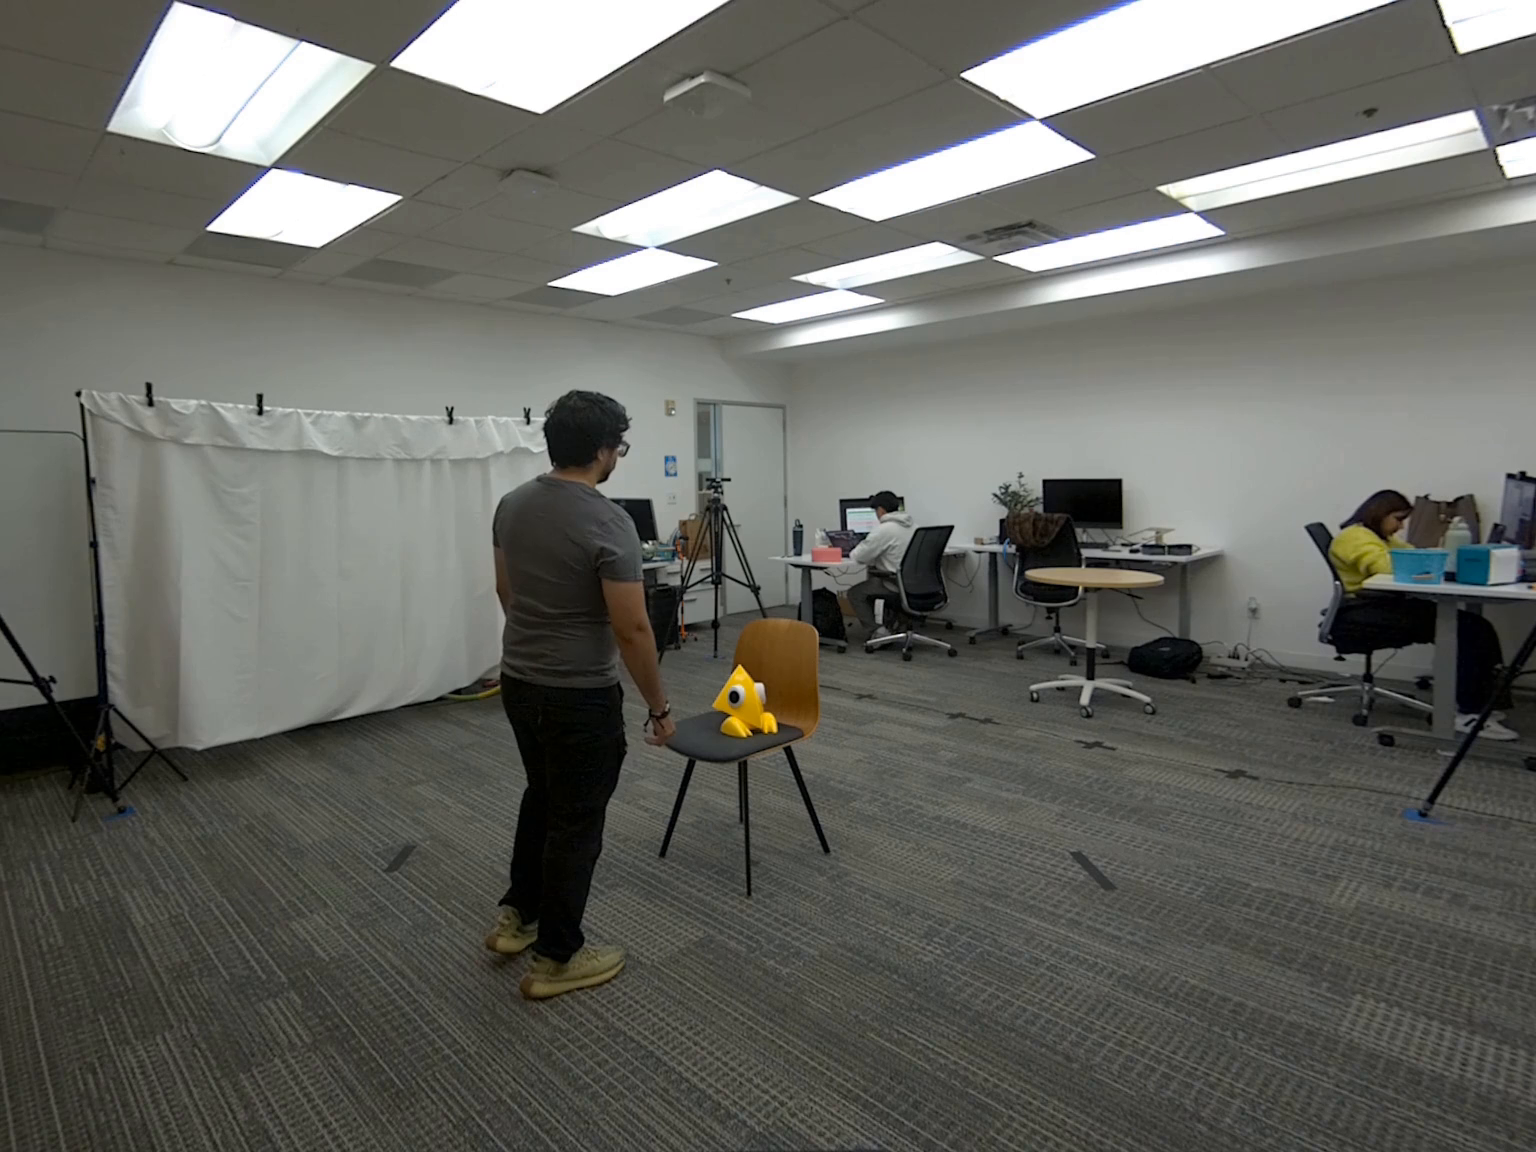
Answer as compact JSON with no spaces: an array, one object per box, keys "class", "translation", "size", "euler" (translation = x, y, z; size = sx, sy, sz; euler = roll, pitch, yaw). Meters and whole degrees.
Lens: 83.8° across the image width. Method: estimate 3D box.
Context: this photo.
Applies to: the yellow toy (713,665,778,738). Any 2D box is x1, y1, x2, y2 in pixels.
[{"class":"yellow toy","translation":[-0.066,0.451,3.138],"size":[0.200,0.230,0.198],"euler":[0,3,-30]}]
